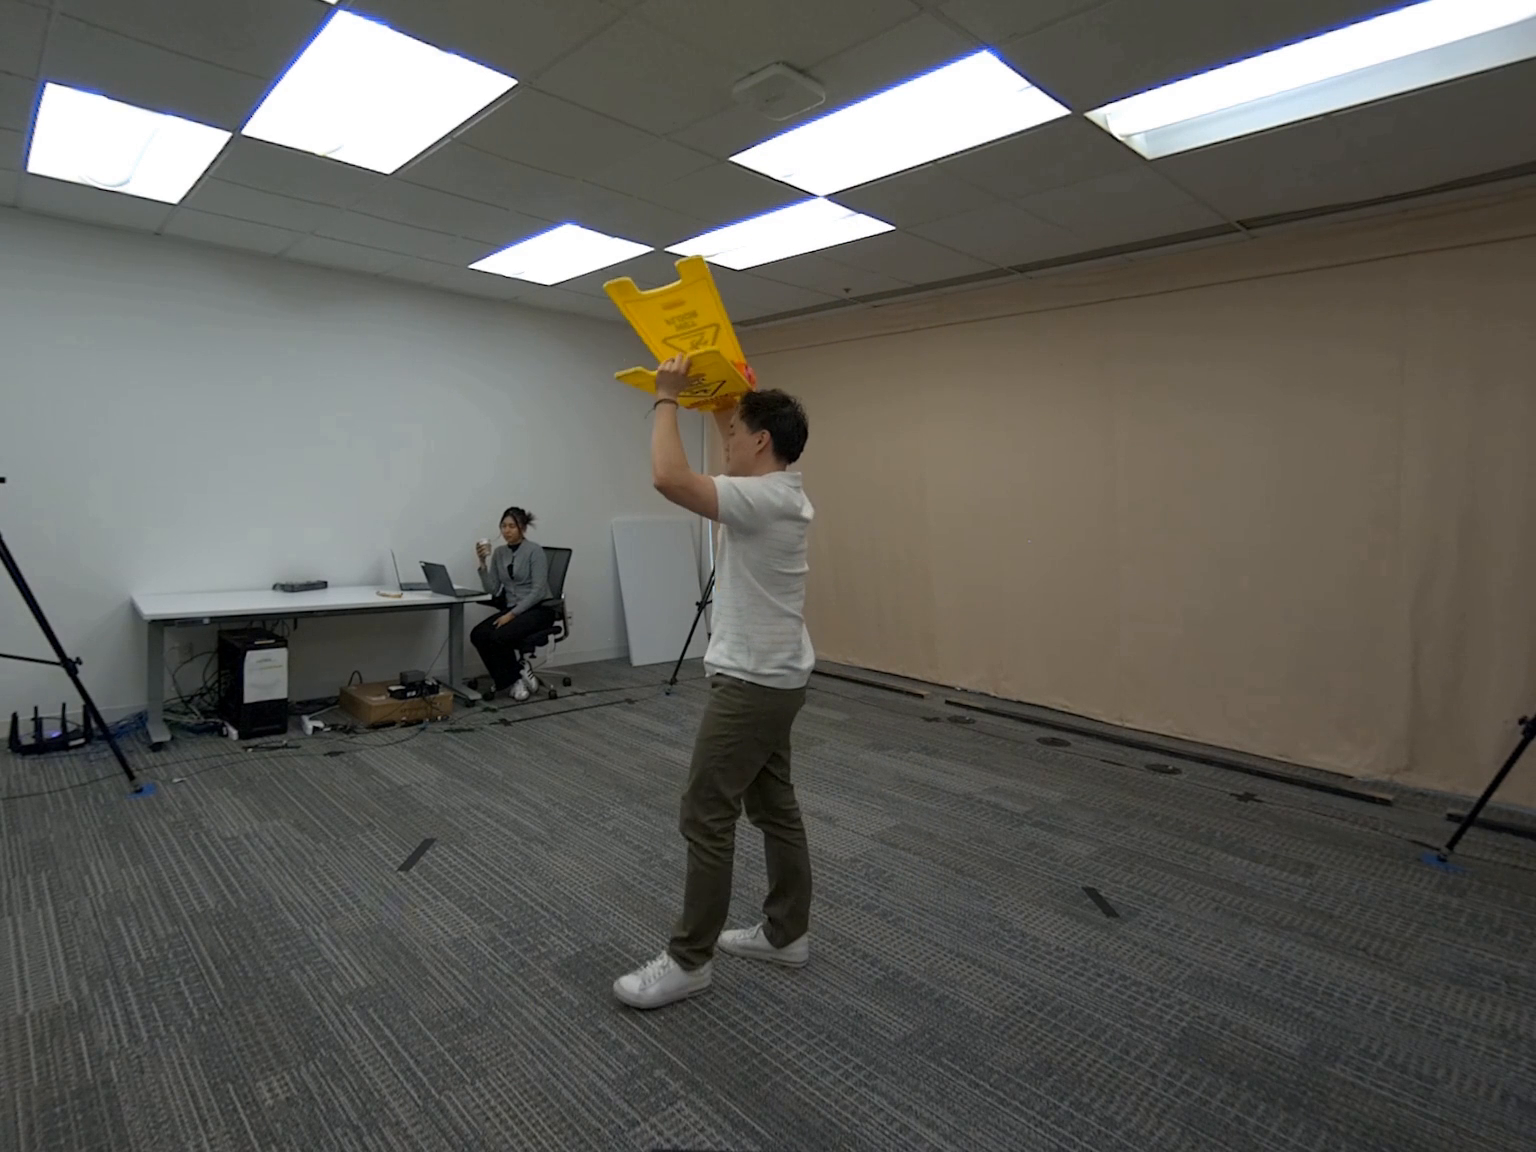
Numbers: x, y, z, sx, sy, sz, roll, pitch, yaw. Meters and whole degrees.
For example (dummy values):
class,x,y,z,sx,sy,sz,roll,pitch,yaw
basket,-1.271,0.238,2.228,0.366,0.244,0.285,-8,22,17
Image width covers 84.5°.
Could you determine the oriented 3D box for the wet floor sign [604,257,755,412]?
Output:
class,x,y,z,sx,sy,sz,roll,pitch,yaw
wet floor sign,-0.205,-0.607,2.443,0.284,0.293,0.633,-12,-12,13
